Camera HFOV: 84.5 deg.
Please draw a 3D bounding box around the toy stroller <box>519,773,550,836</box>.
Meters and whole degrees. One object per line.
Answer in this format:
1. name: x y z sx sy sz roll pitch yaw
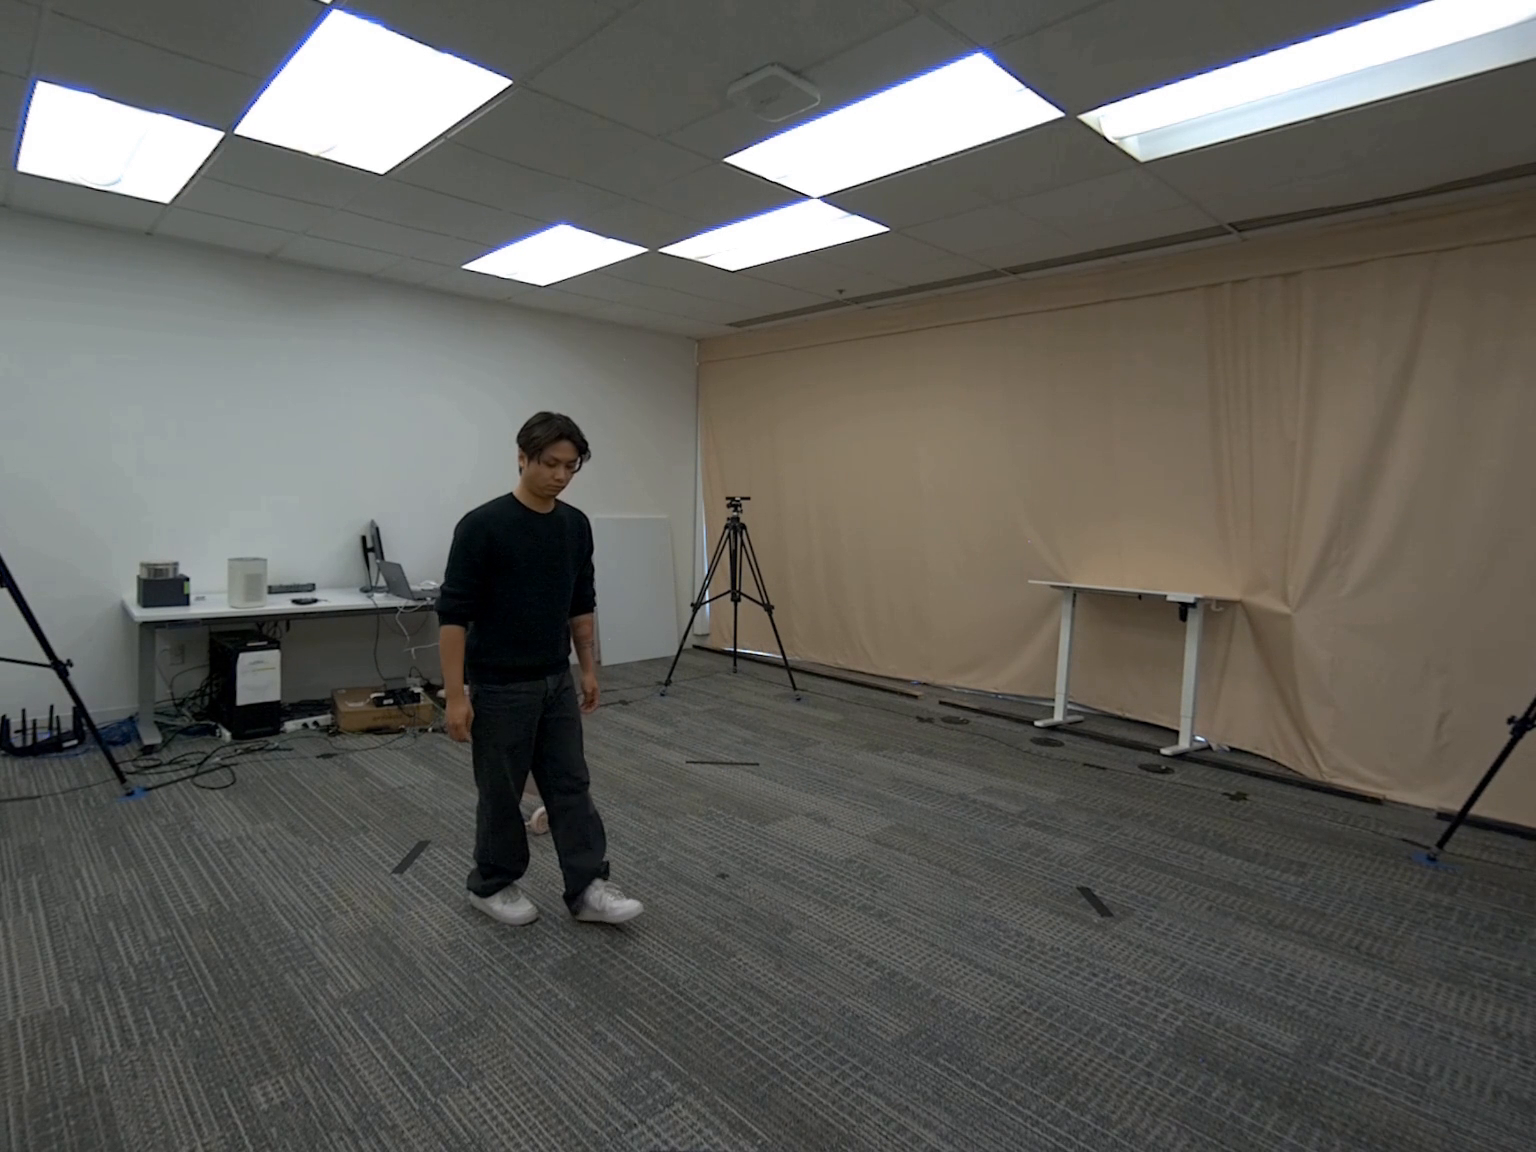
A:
1. toy stroller: -1.007 0.829 3.558 0.288 0.527 0.338 3 20 32
